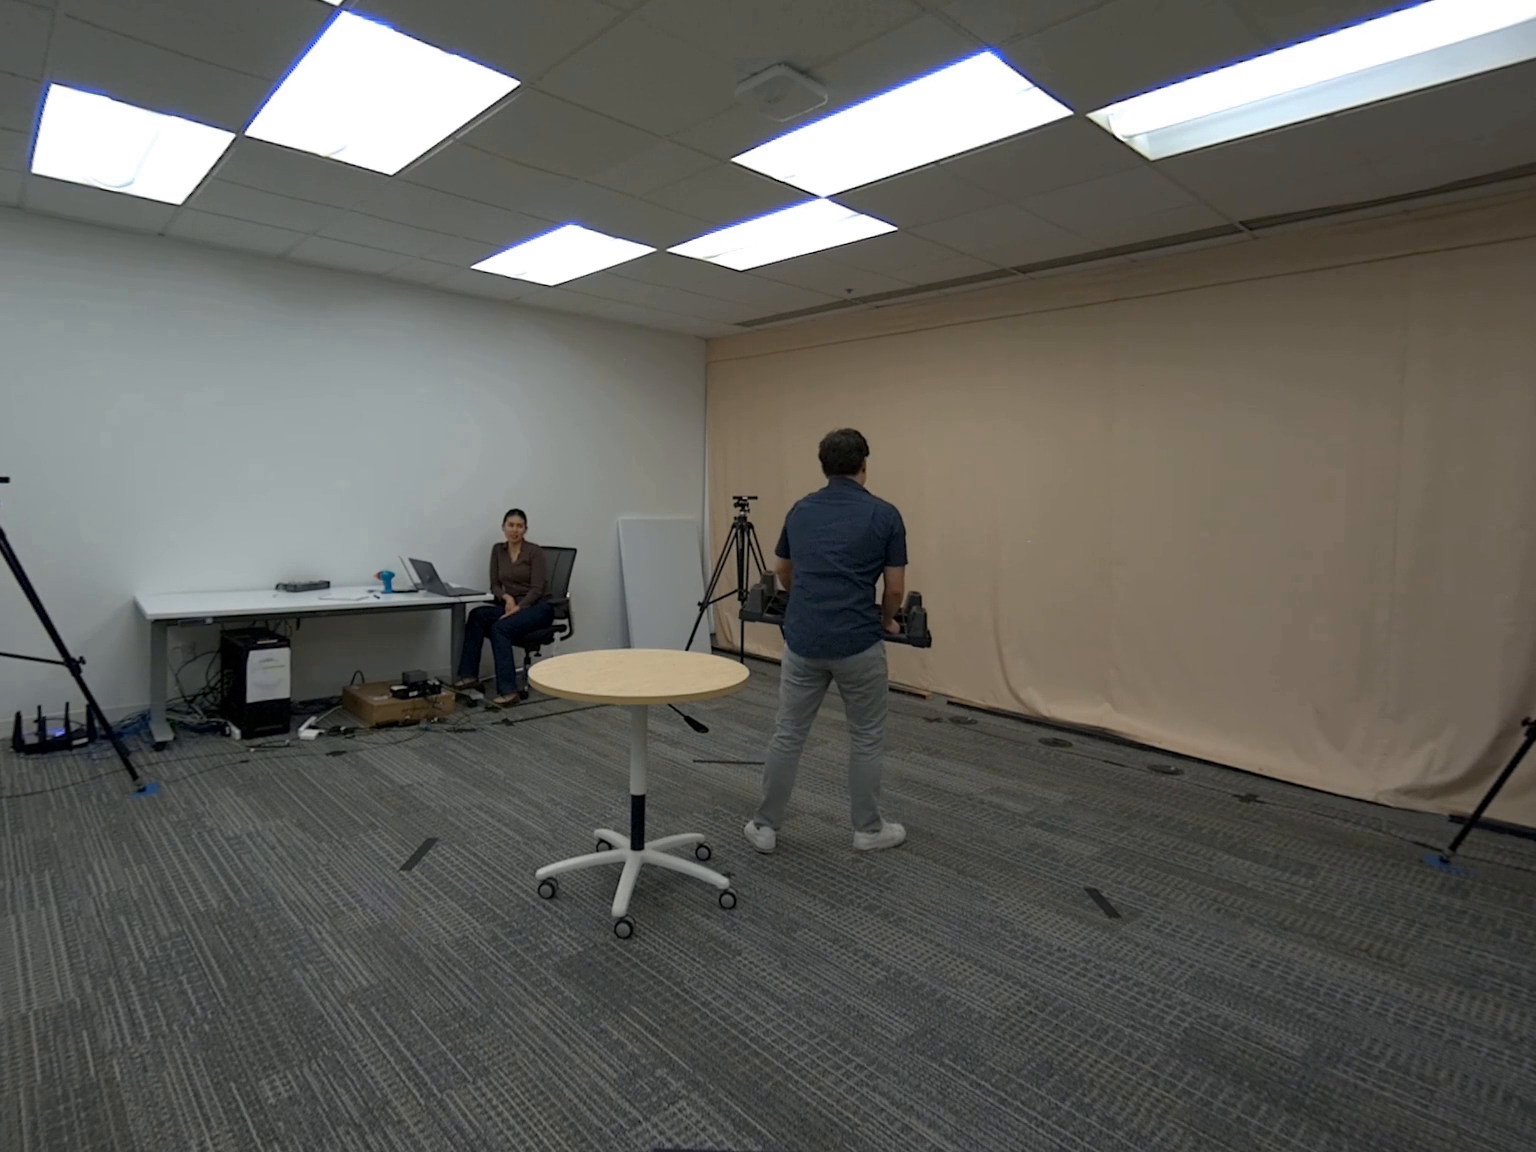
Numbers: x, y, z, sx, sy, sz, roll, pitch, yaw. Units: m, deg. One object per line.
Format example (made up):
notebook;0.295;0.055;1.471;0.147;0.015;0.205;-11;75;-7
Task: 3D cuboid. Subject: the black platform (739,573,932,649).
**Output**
black platform;0.307;0.132;3.748;0.811;0.142;0.604;8;11;7
